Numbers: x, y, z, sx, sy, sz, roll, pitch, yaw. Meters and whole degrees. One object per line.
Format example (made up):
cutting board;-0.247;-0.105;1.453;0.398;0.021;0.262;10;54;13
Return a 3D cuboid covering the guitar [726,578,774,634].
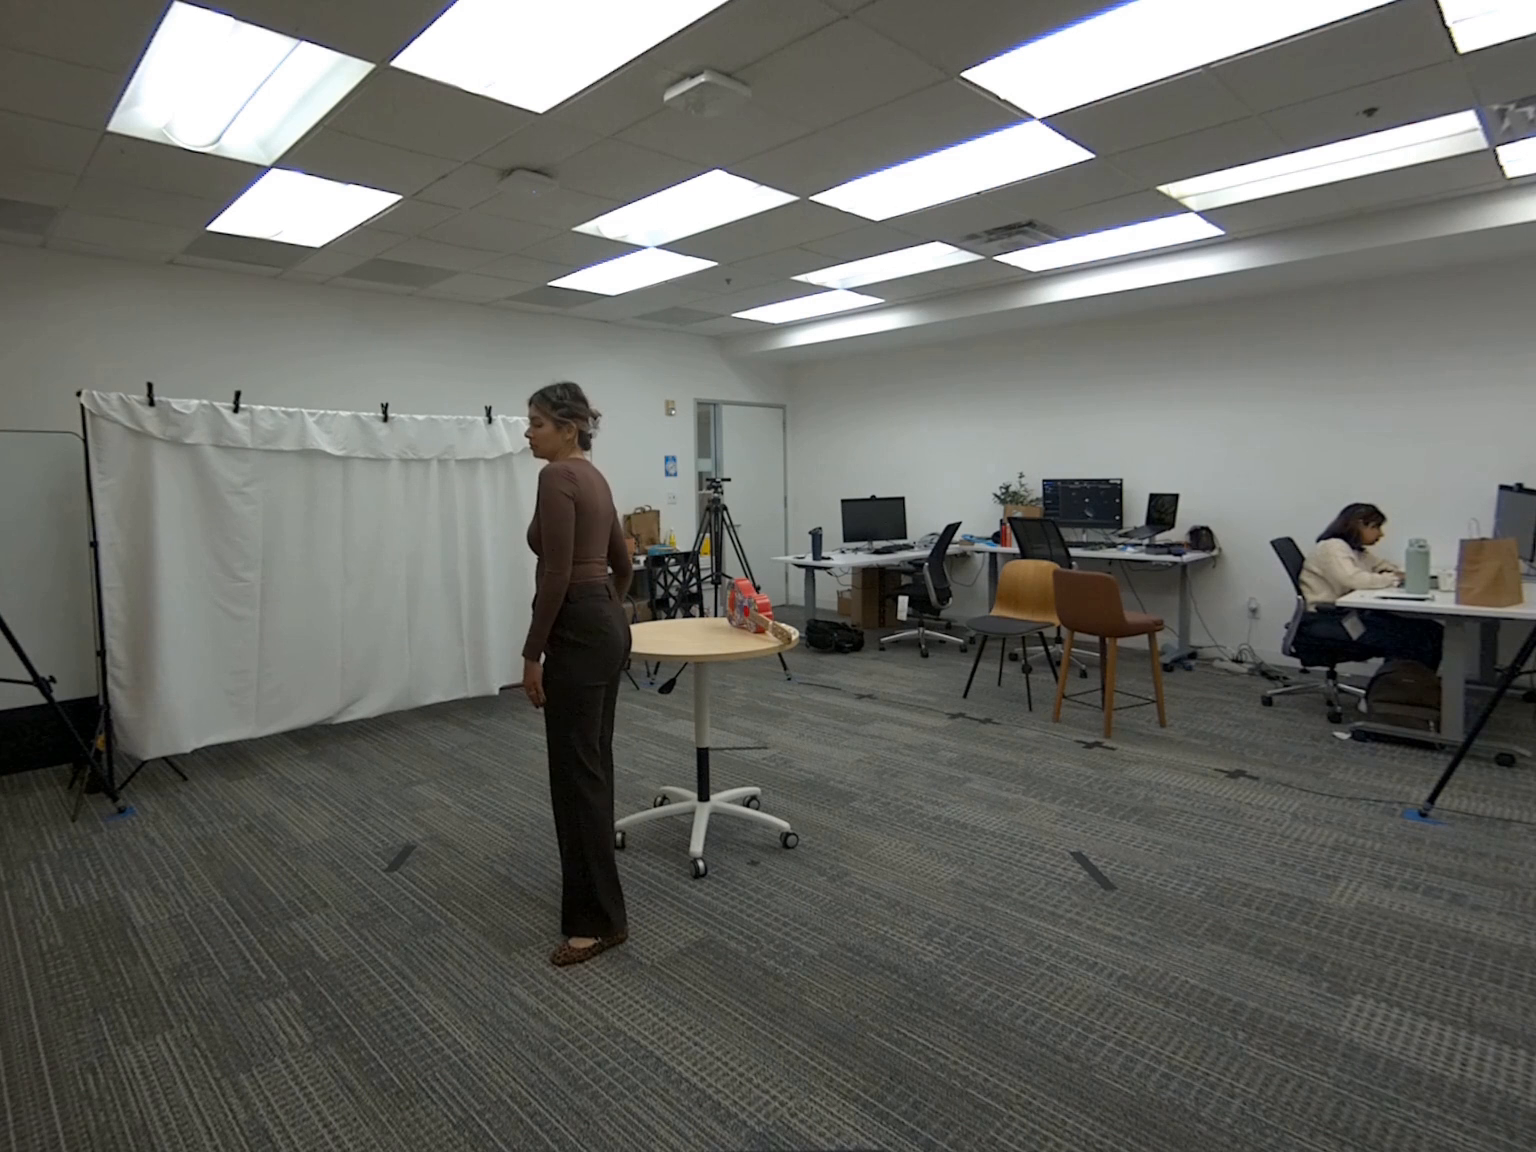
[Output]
guitar;-0.027;0.182;3.292;0.069;0.190;0.517;-5;26;-29
